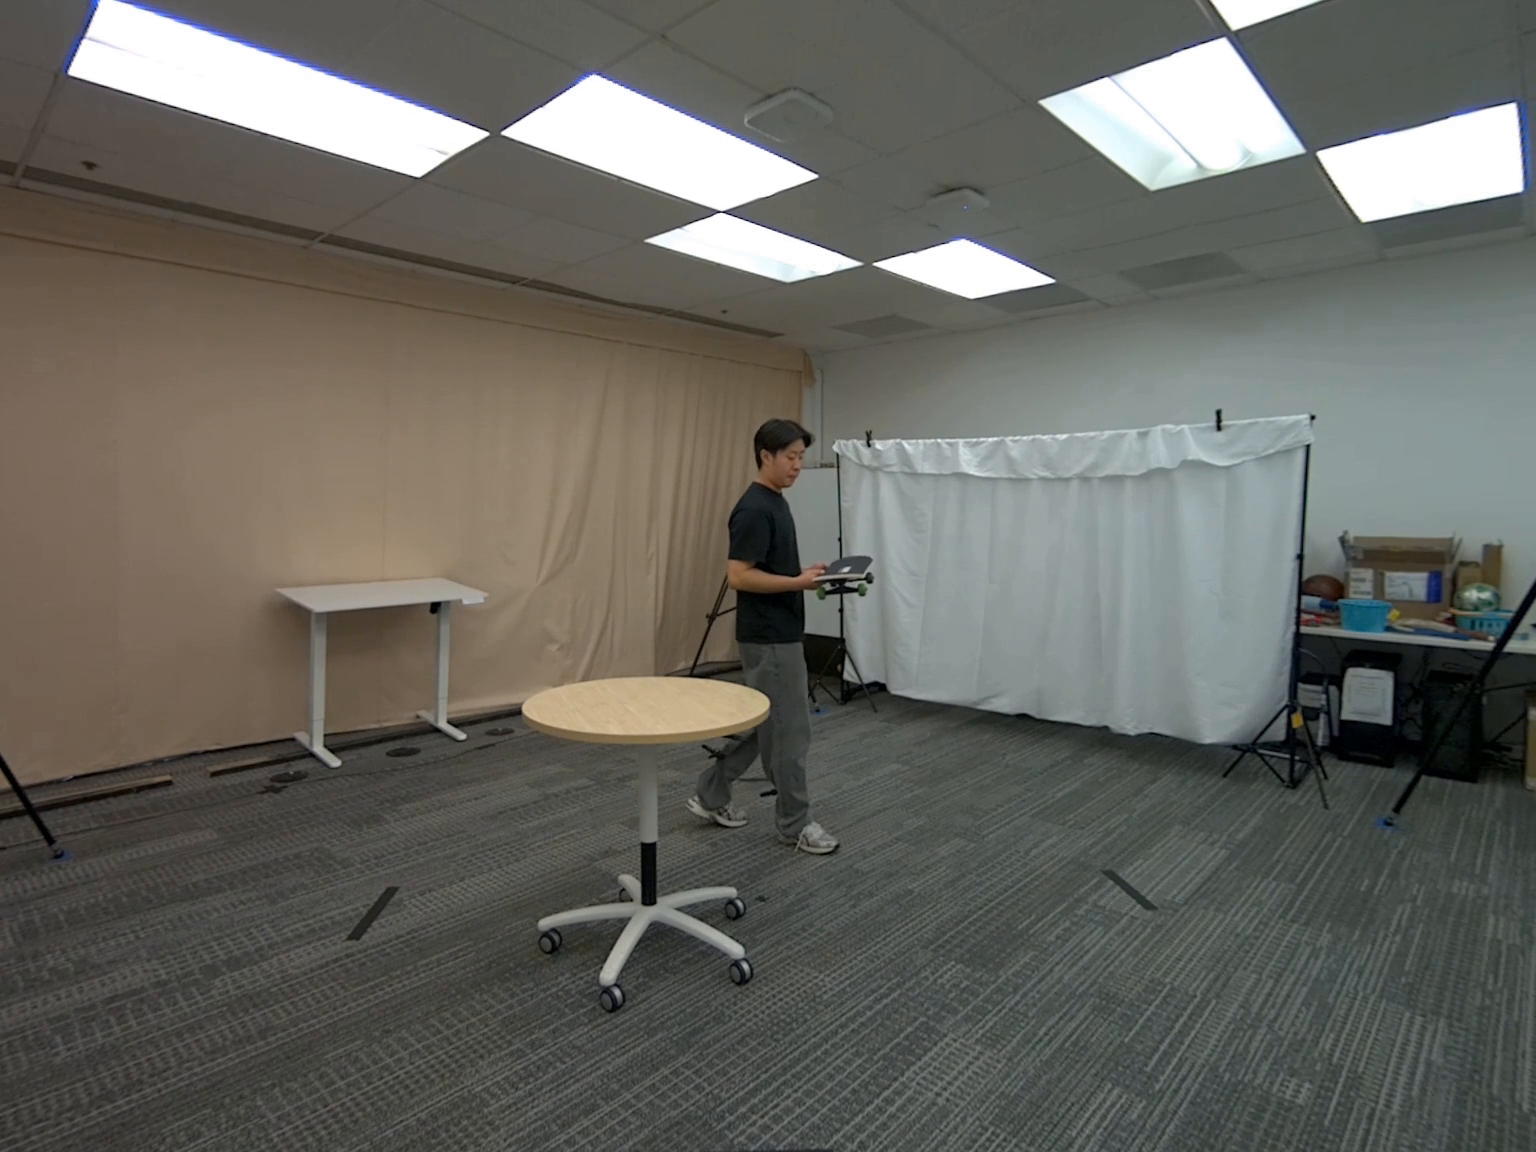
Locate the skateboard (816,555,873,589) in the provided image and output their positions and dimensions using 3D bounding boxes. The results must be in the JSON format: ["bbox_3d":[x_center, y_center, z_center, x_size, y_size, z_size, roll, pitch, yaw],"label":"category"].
[{"bbox_3d":[0.323,0.019,3.468,0.196,0.110,0.776,-1,6,12],"label":"skateboard"}]
